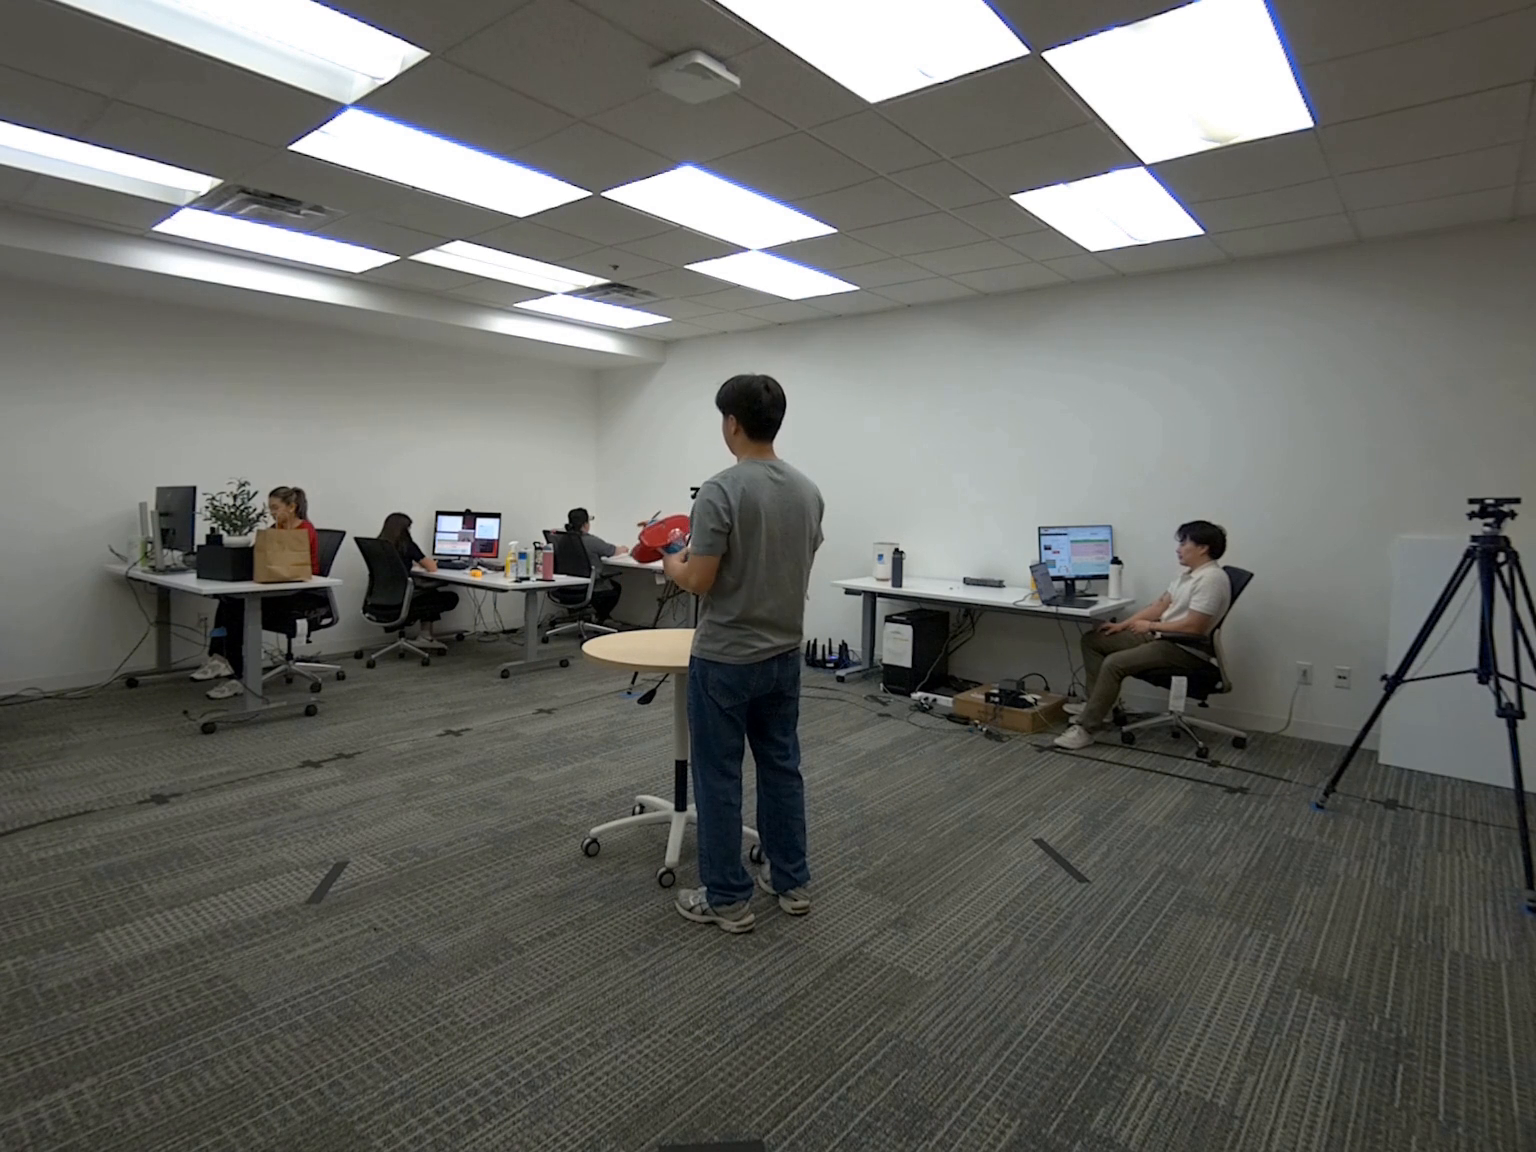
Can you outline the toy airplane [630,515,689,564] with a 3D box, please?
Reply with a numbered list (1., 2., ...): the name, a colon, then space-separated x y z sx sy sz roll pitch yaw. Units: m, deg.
1. toy airplane: -0.328 -0.112 2.950 0.259 0.153 0.256 14 33 -1
